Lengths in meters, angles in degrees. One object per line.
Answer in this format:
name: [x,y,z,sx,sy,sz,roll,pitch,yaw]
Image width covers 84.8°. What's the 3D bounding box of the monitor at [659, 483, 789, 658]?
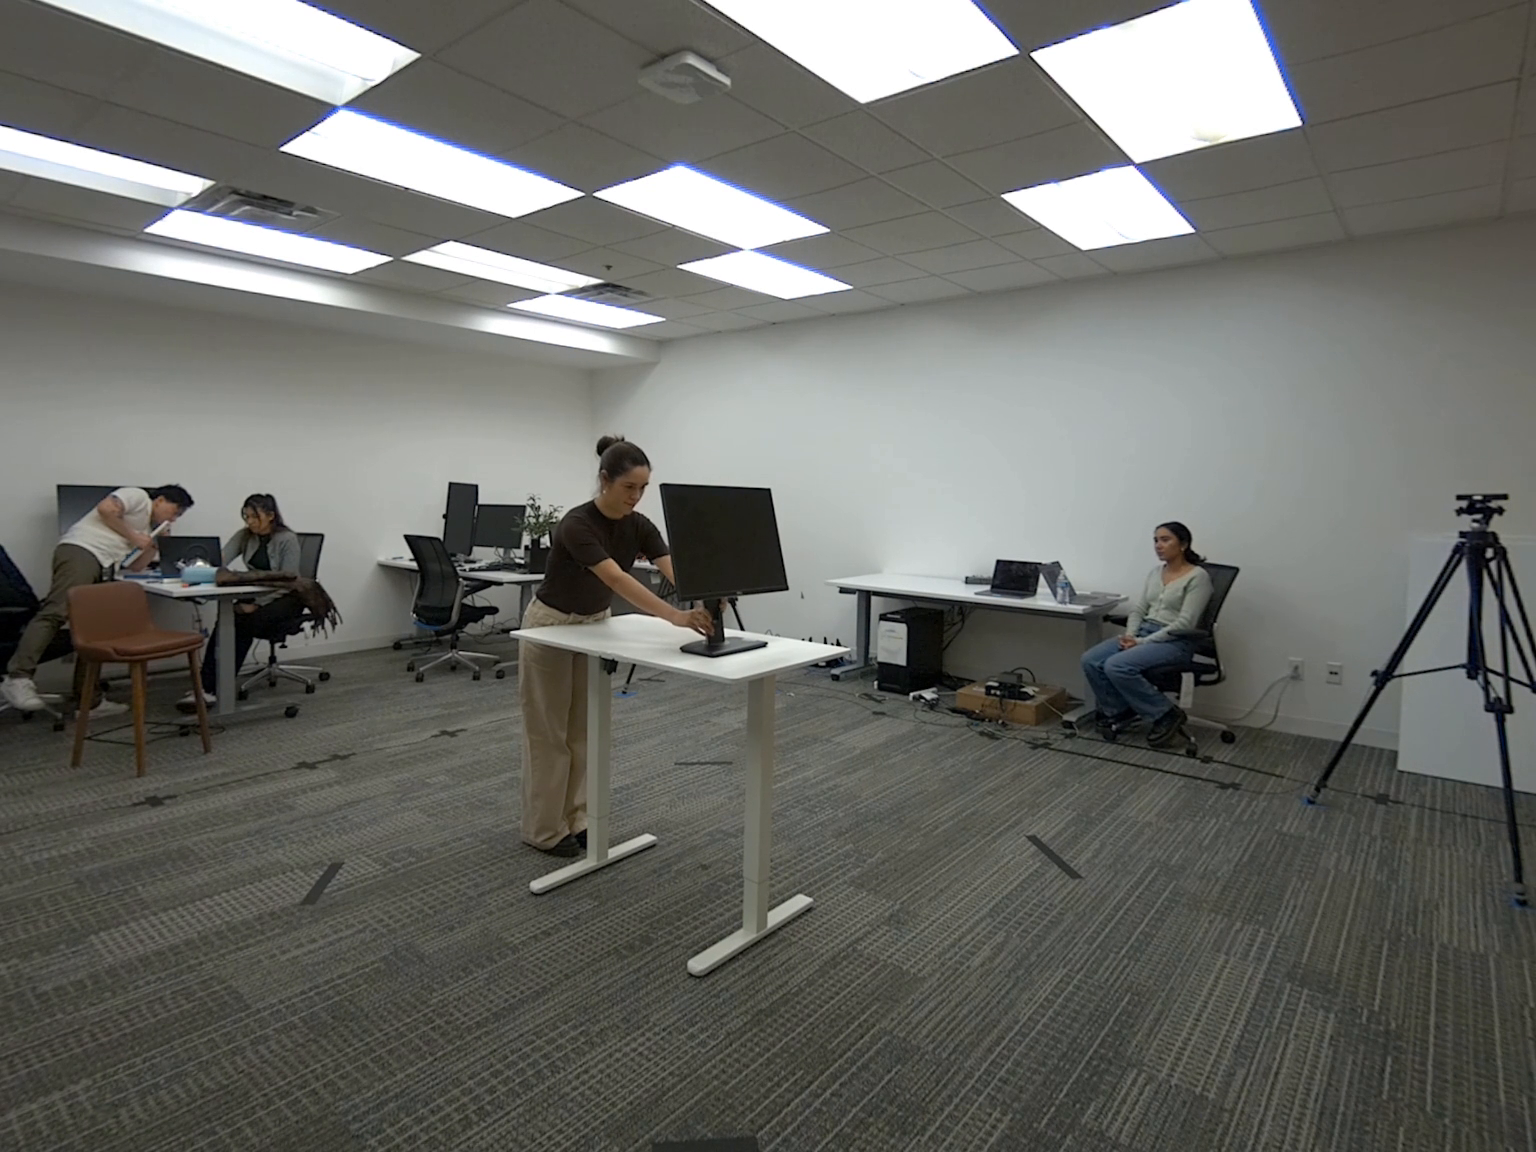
monitor: [-0.153,-0.028,2.682,0.180,0.514,0.514,6,5,37]
